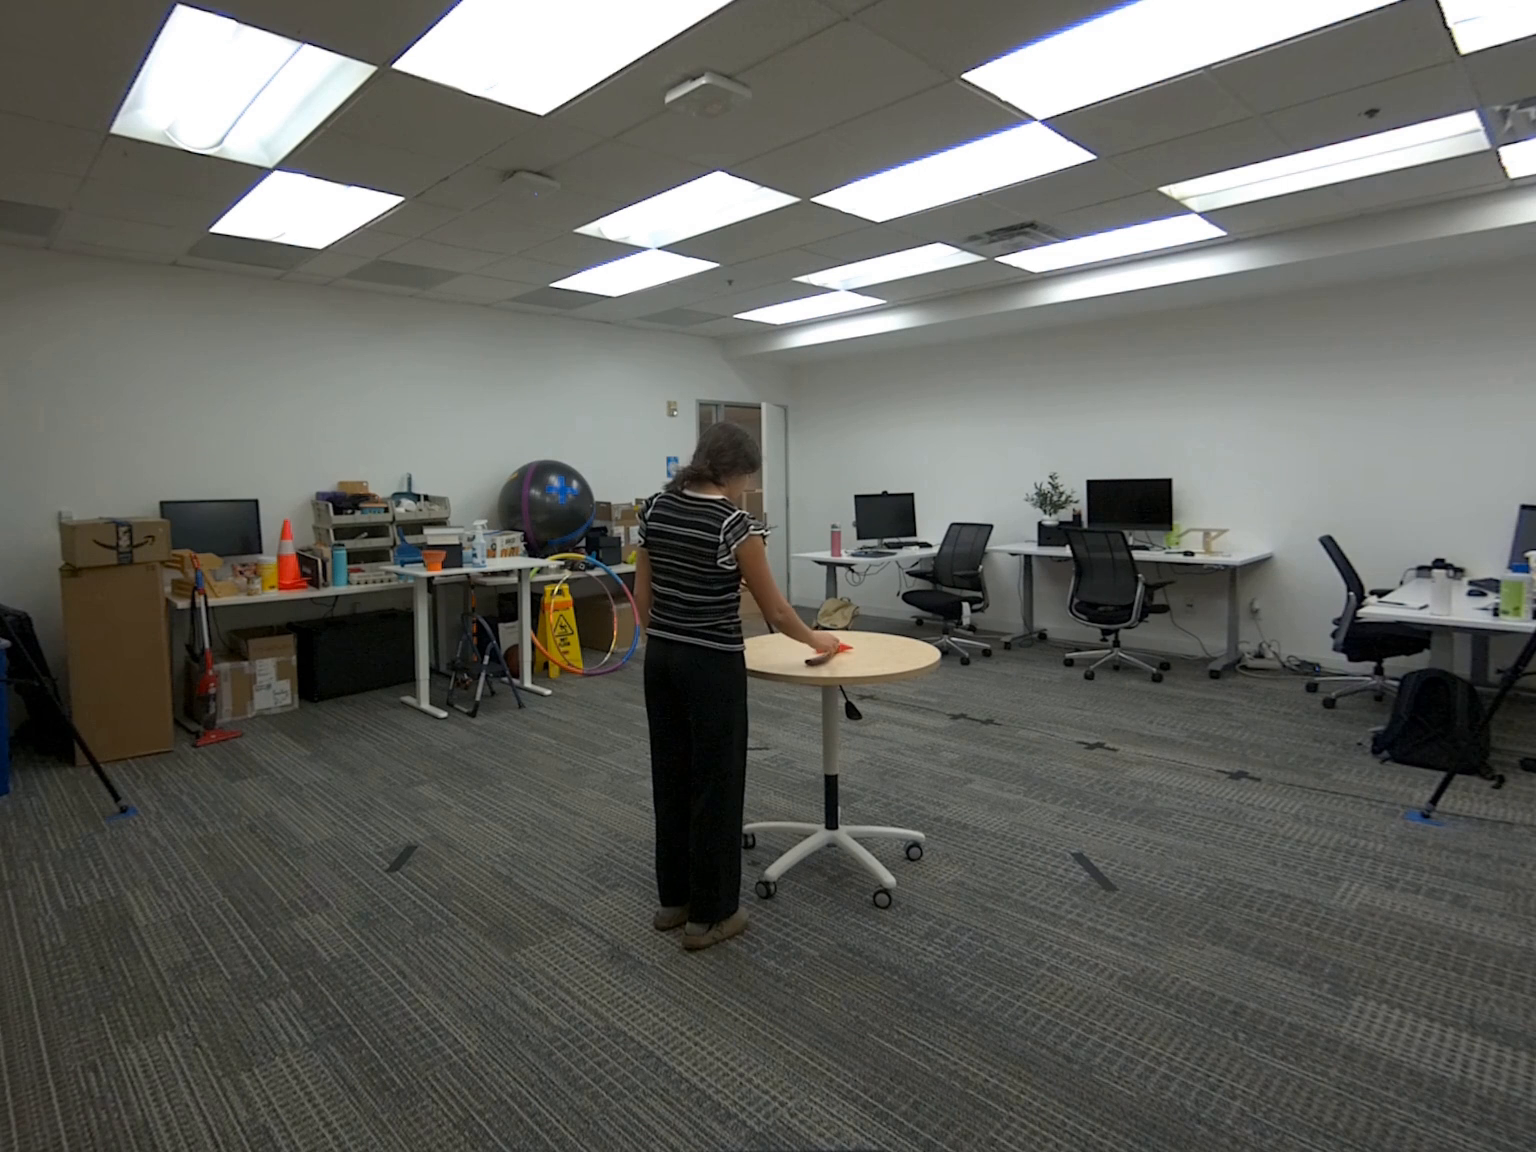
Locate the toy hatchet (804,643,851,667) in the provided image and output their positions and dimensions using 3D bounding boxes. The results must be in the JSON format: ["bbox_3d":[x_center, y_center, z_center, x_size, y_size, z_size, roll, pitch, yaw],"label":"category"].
[{"bbox_3d":[0.188,0.267,2.927,0.135,0.029,0.264,4,10,34],"label":"toy hatchet"}]
